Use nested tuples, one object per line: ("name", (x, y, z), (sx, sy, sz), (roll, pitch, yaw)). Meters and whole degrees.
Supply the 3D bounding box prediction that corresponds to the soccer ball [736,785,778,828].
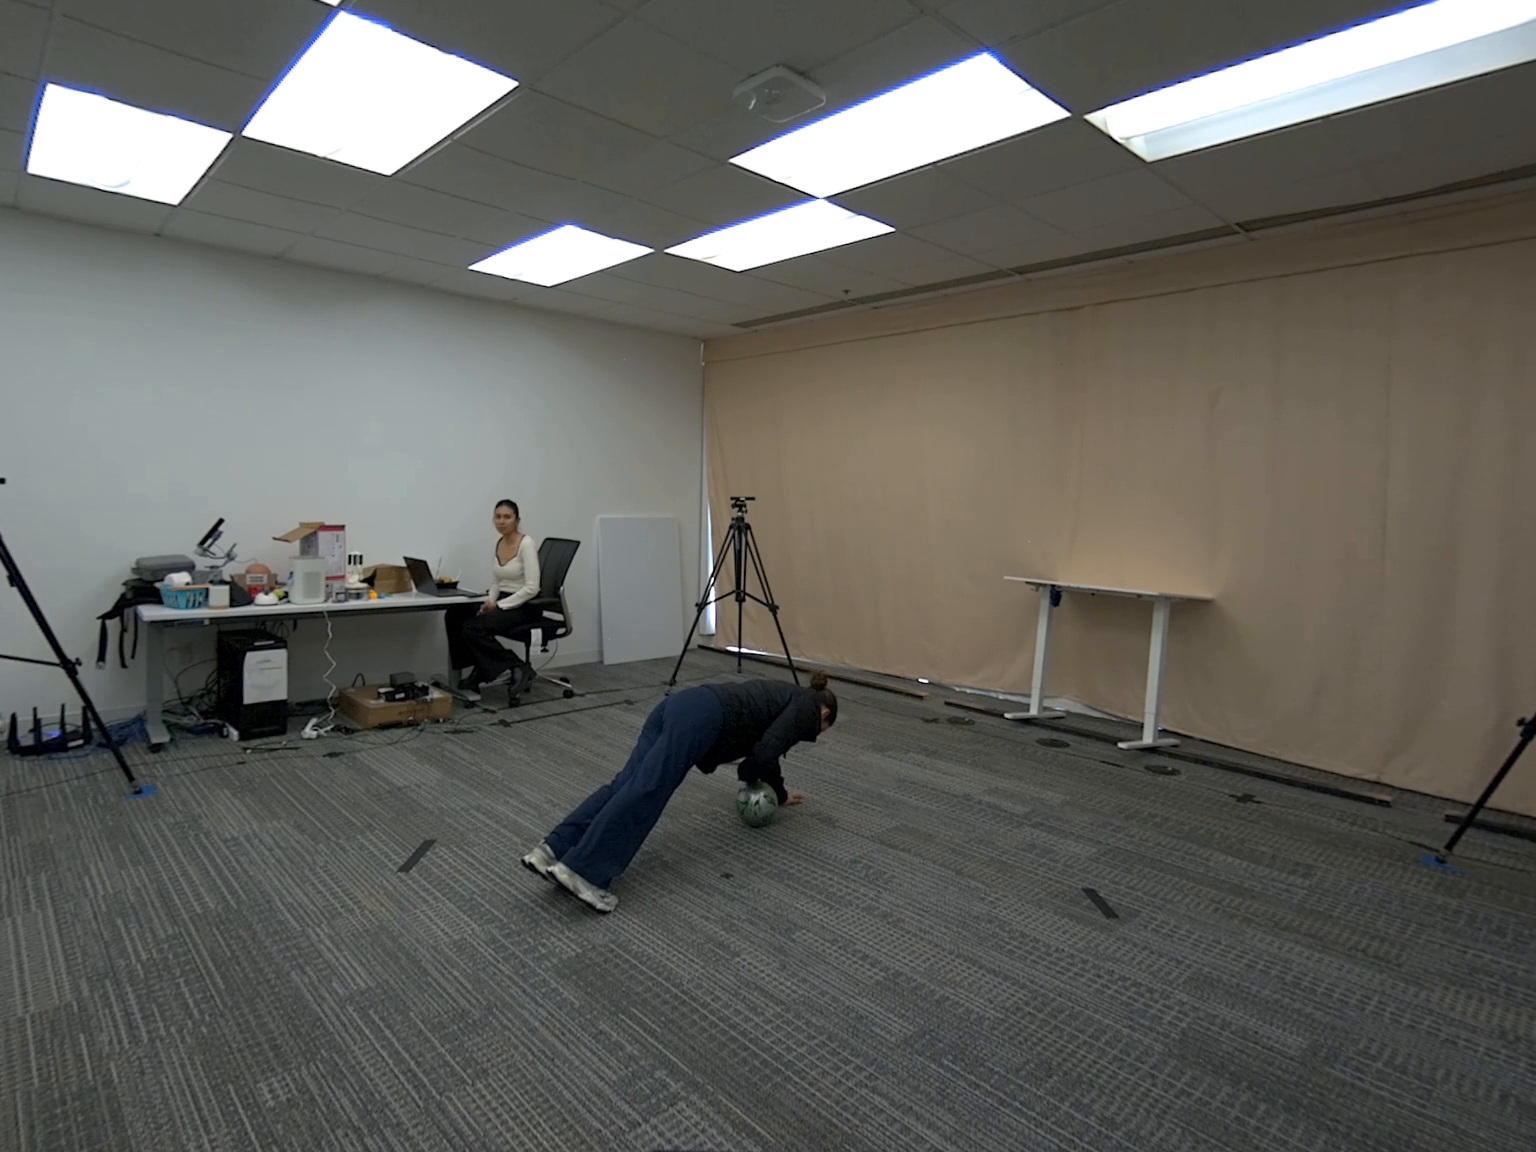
("soccer ball", (-0.067, 0.976, 3.608), (0.187, 0.187, 0.188), (1, 4, -1))
